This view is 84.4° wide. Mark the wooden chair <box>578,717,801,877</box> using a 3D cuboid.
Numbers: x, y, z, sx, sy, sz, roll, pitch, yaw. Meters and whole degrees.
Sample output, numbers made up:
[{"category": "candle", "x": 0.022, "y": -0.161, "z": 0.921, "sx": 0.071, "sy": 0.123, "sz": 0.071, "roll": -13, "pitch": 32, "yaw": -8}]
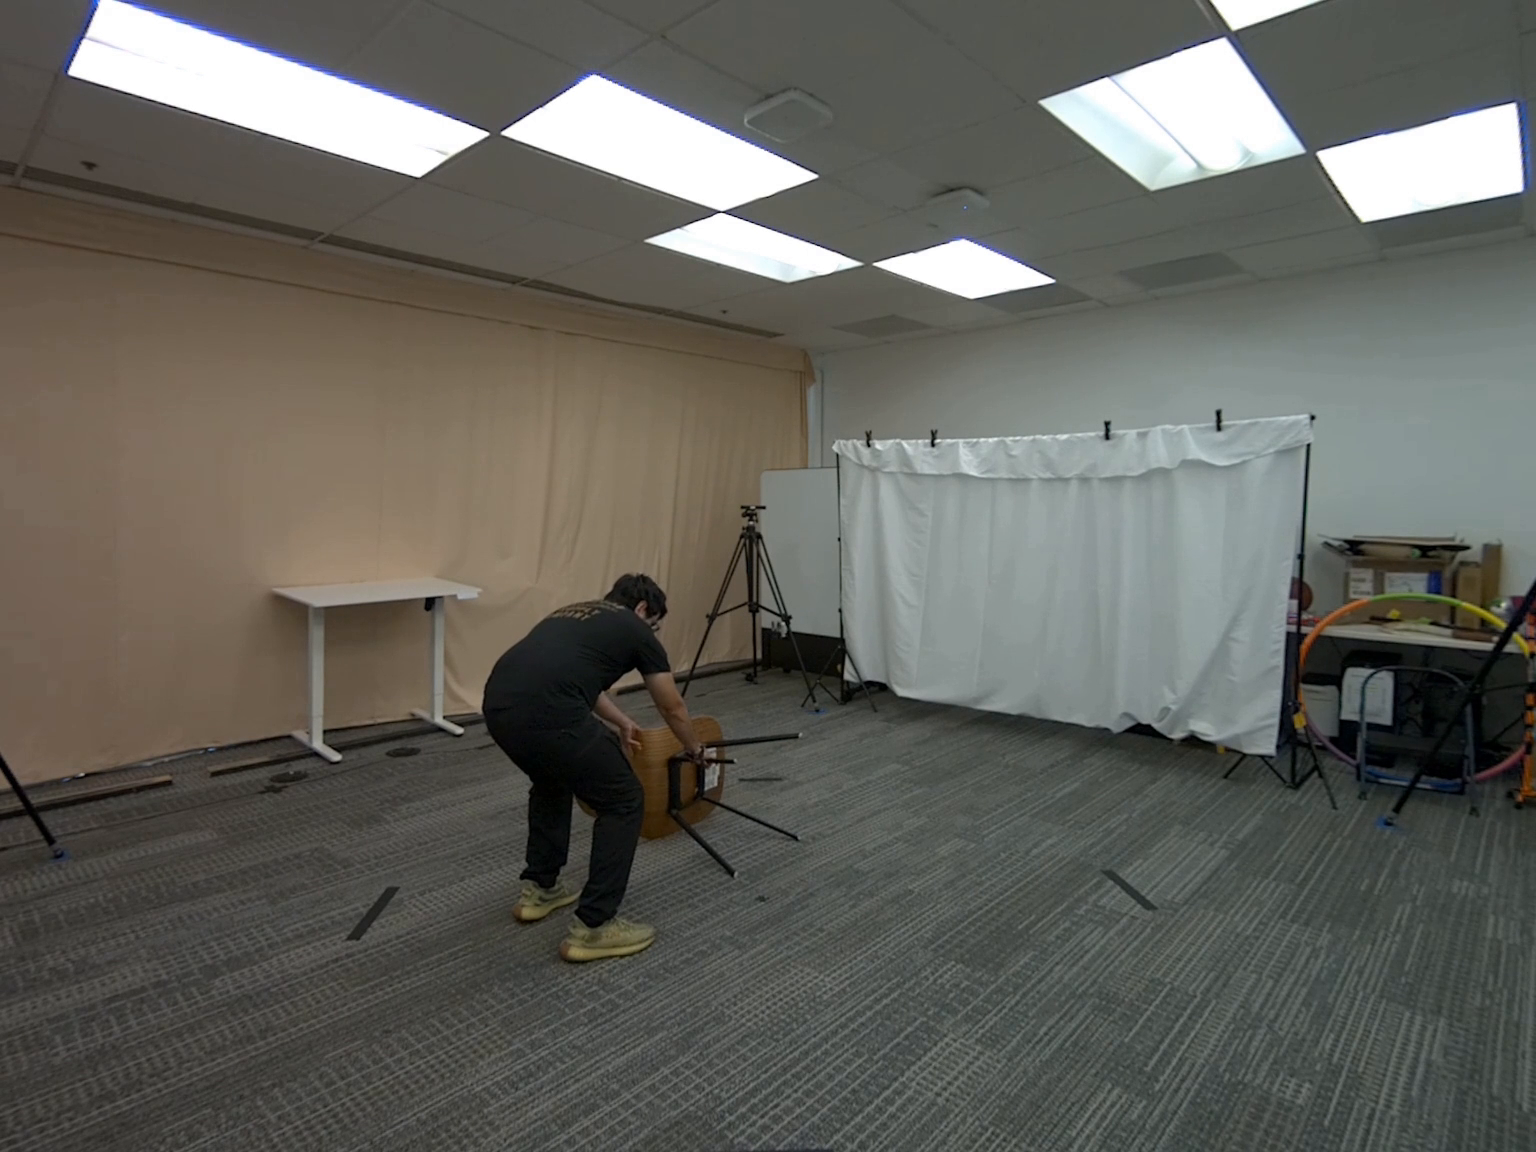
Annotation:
[{"category": "wooden chair", "x": -0.341, "y": 0.866, "z": 3.578, "sx": 0.904, "sy": 0.477, "sz": 0.509, "roll": 2, "pitch": 6, "yaw": 33}]
